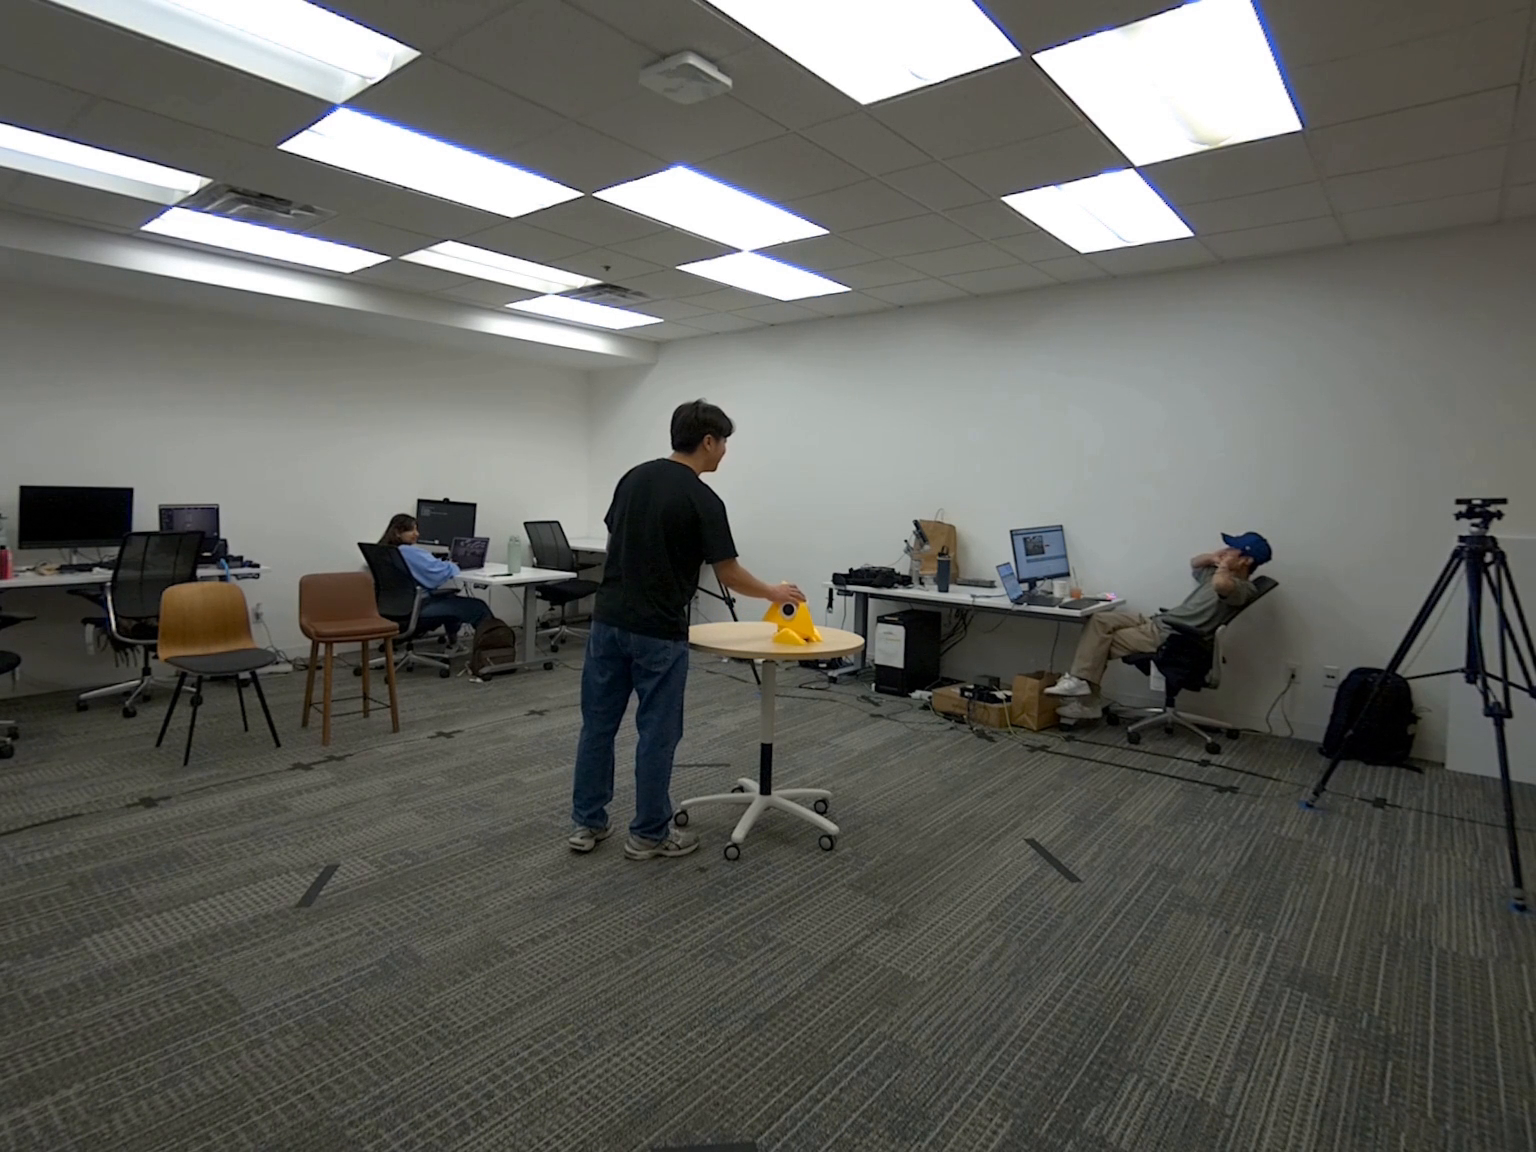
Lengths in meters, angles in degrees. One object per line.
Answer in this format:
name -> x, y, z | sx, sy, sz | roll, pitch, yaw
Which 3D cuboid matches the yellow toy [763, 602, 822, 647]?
yellow toy -> 0.098, 0.142, 3.380 | 0.199, 0.230, 0.198 | 4, 4, 40
